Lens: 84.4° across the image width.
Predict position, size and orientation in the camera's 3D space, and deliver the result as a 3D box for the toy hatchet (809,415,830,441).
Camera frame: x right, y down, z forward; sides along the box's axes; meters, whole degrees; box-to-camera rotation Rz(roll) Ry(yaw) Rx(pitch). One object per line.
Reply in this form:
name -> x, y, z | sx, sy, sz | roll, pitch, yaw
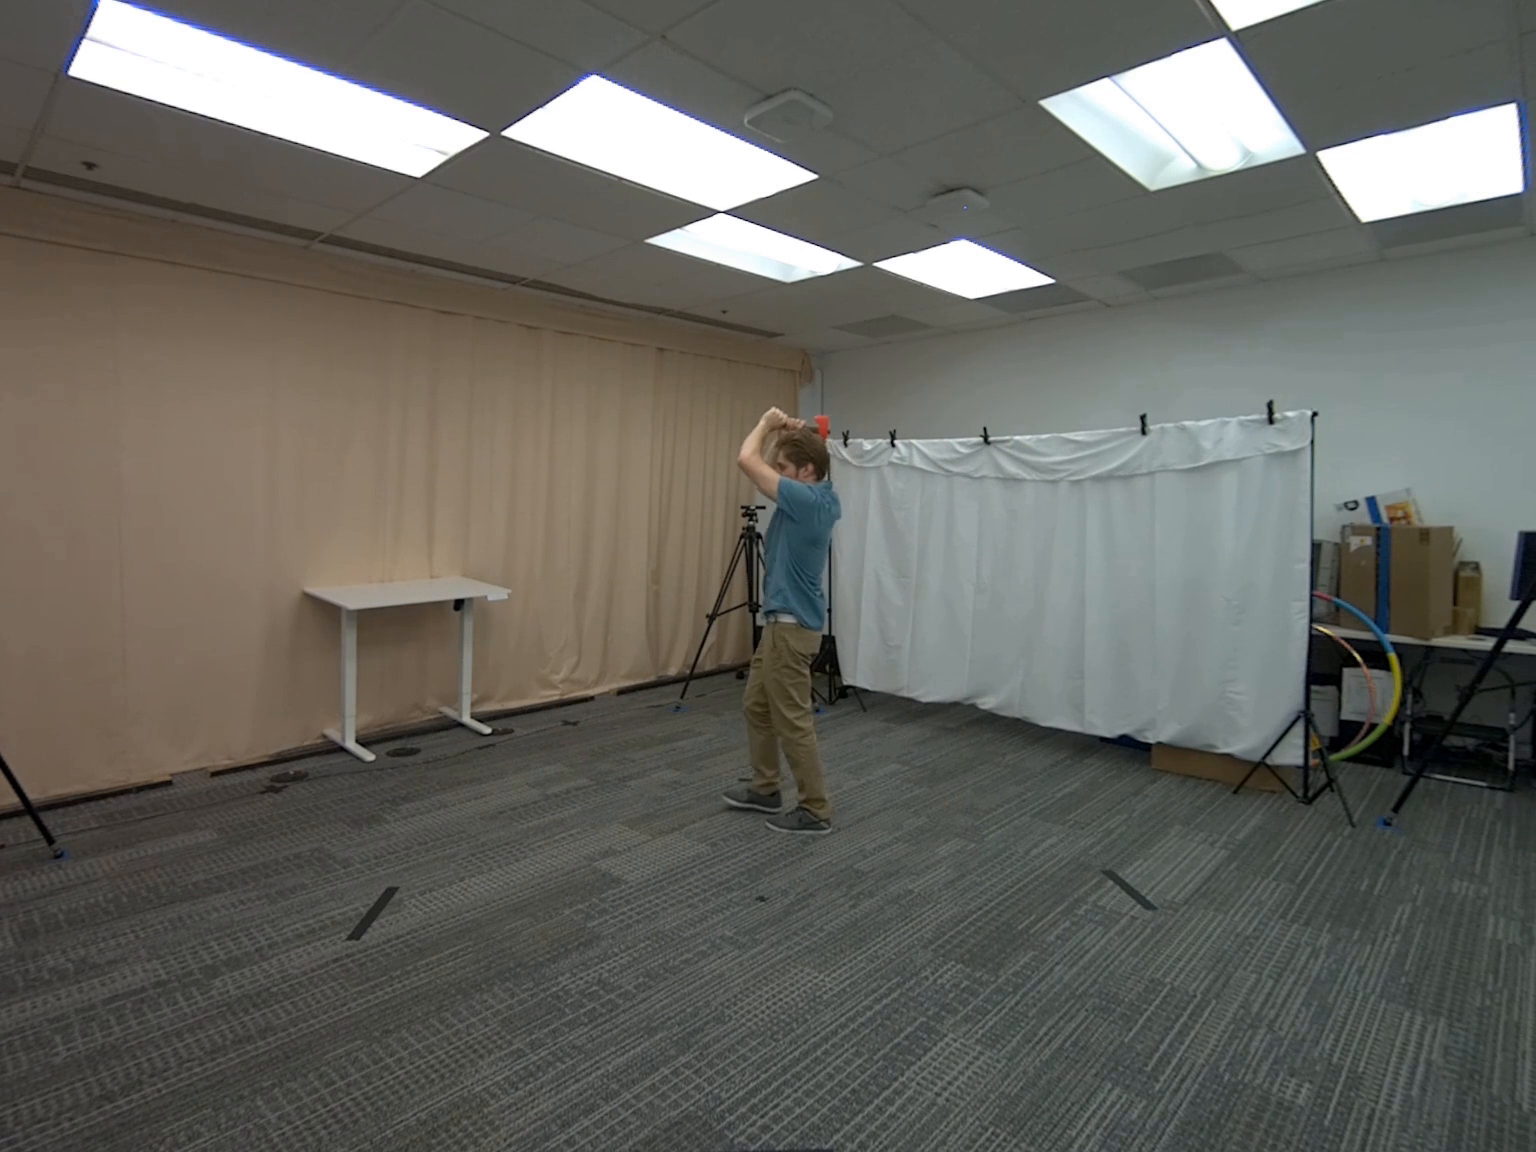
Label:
toy hatchet -> 0.145, -0.665, 3.604 | 0.266, 0.131, 0.030 | 25, 14, -12
